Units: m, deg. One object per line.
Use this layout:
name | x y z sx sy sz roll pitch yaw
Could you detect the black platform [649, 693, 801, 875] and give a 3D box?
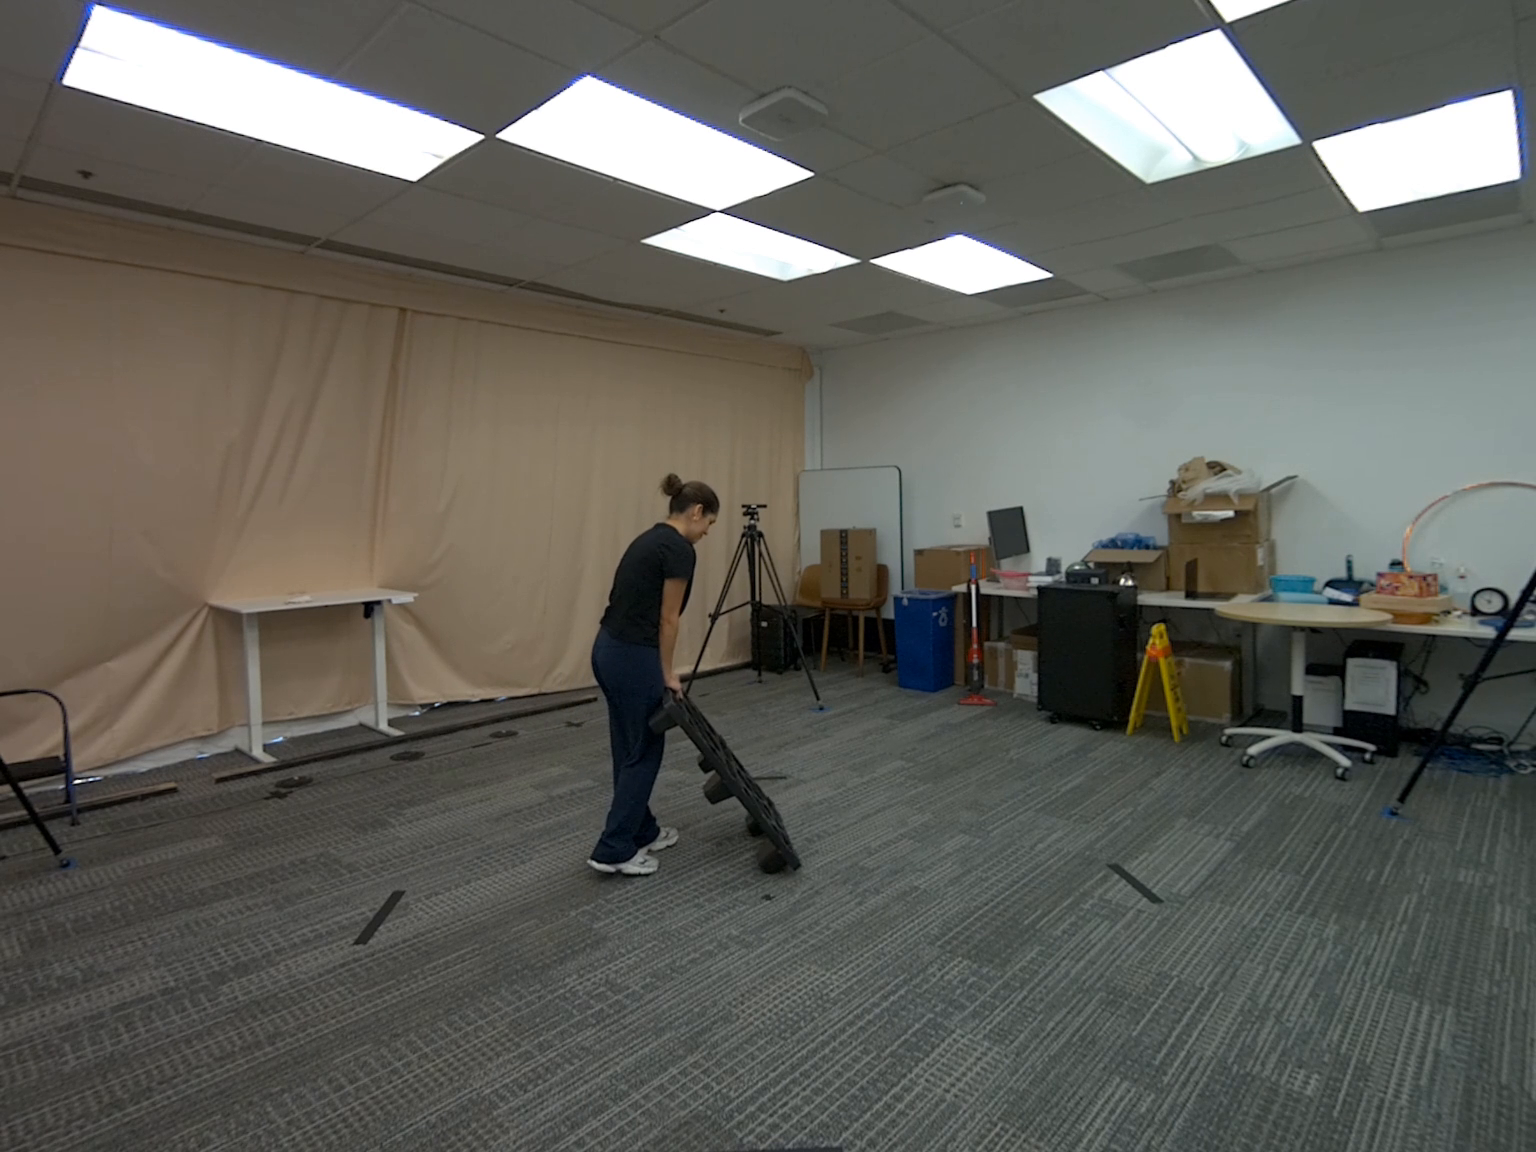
black platform | -0.191 0.777 3.368 0.143 0.800 0.610 -37 7 -3
